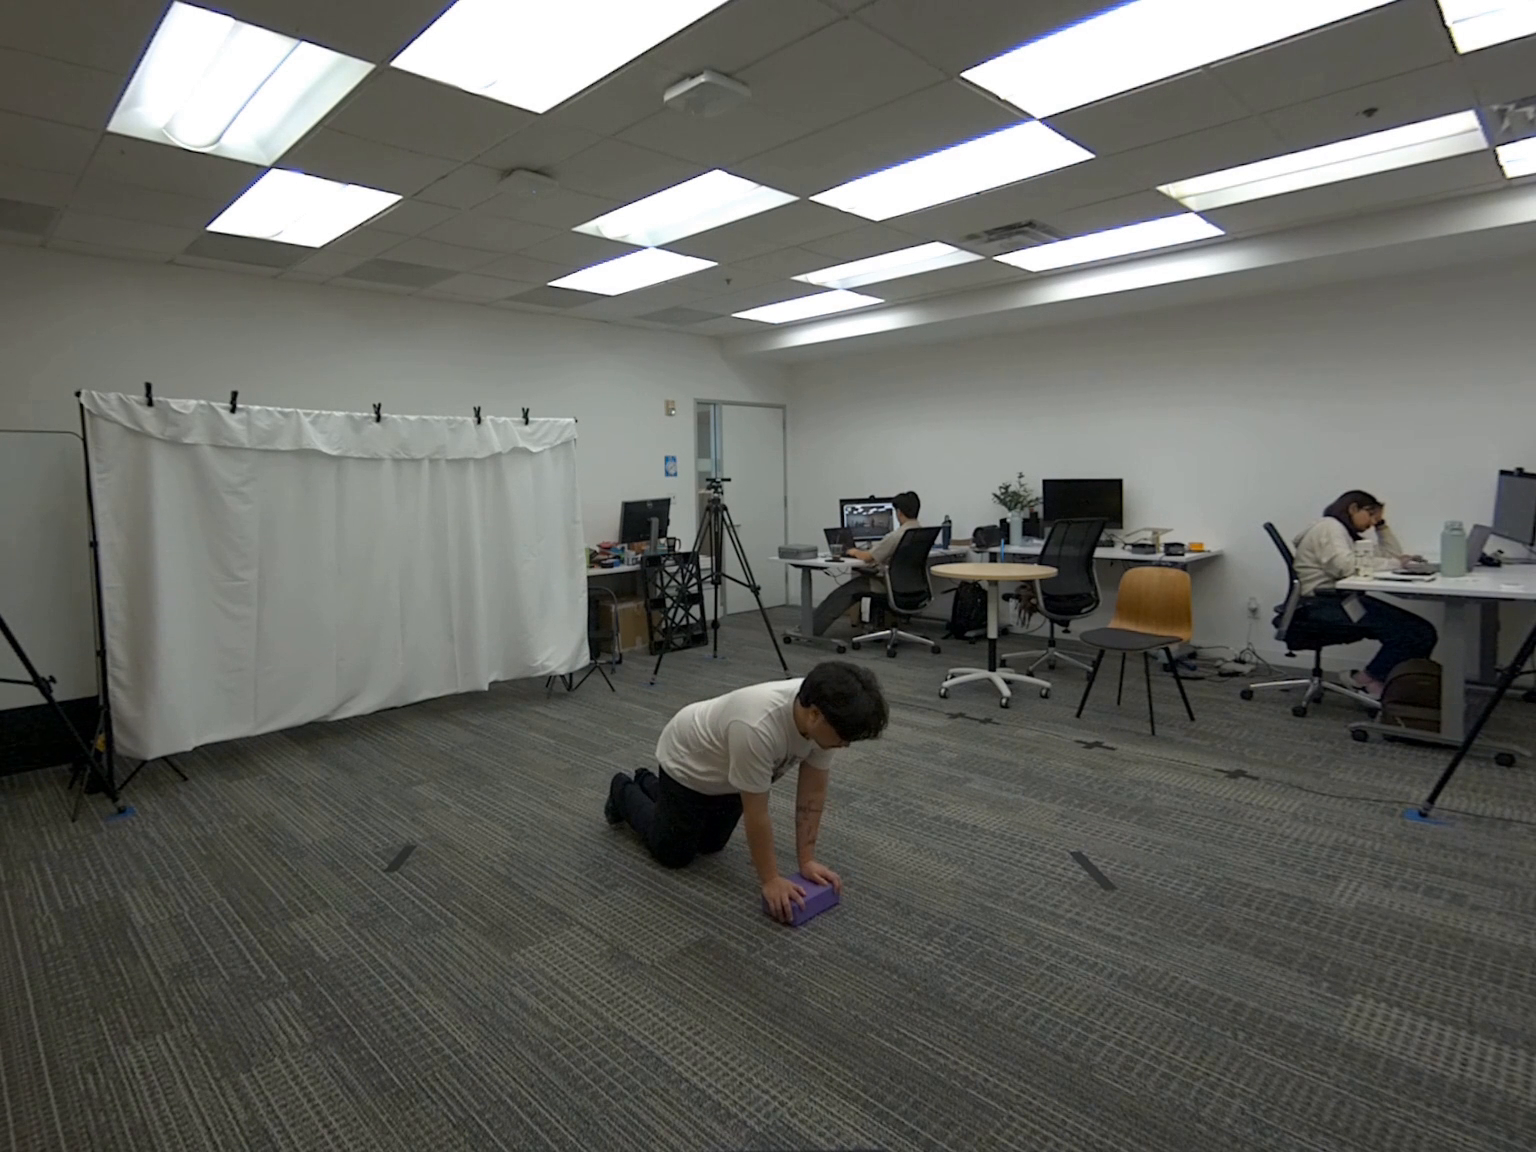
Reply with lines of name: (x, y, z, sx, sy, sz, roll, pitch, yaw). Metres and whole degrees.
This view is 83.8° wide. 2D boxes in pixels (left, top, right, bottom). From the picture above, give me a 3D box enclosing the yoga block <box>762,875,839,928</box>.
yoga block: (0.112, 1.042, 2.777, 0.154, 0.076, 0.223, 9, 11, 44)
